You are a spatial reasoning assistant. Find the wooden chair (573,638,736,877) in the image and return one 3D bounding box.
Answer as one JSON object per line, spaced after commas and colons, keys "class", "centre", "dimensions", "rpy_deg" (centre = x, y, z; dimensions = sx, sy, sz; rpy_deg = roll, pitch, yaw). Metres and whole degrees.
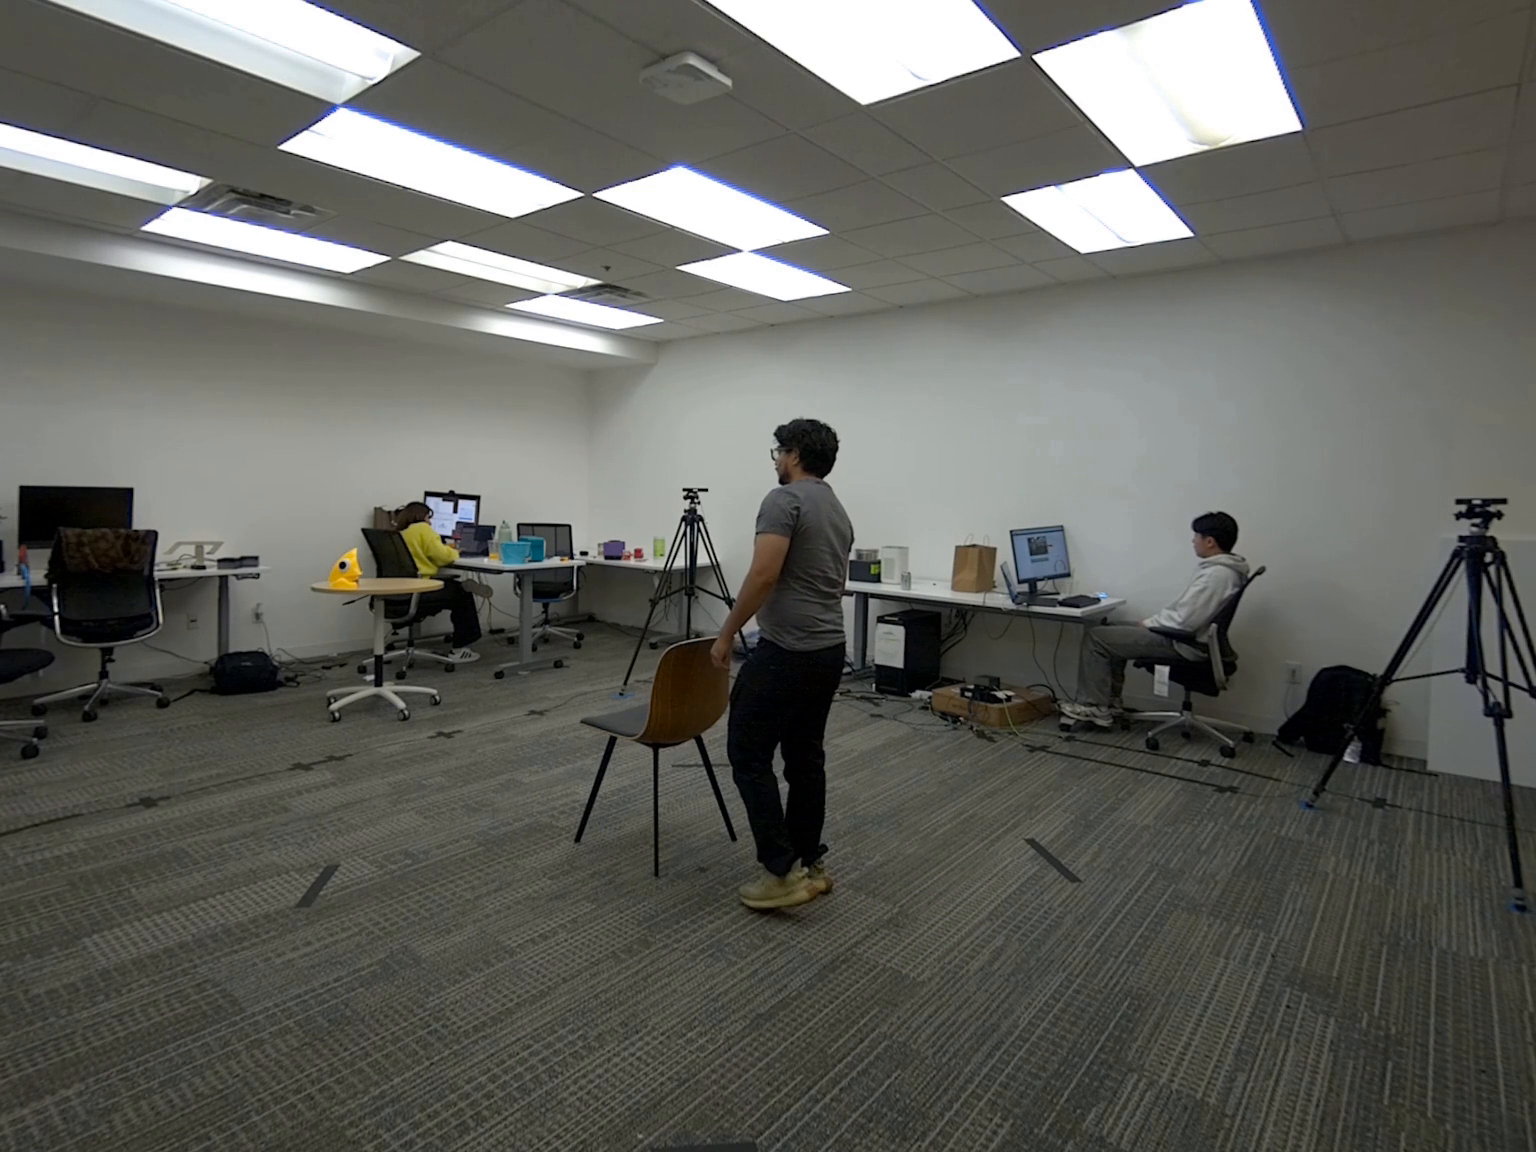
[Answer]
{"class": "wooden chair", "centre": [-0.451, 0.617, 3.327], "dimensions": [0.542, 0.873, 0.464], "rpy_deg": [9, 7, 39]}
